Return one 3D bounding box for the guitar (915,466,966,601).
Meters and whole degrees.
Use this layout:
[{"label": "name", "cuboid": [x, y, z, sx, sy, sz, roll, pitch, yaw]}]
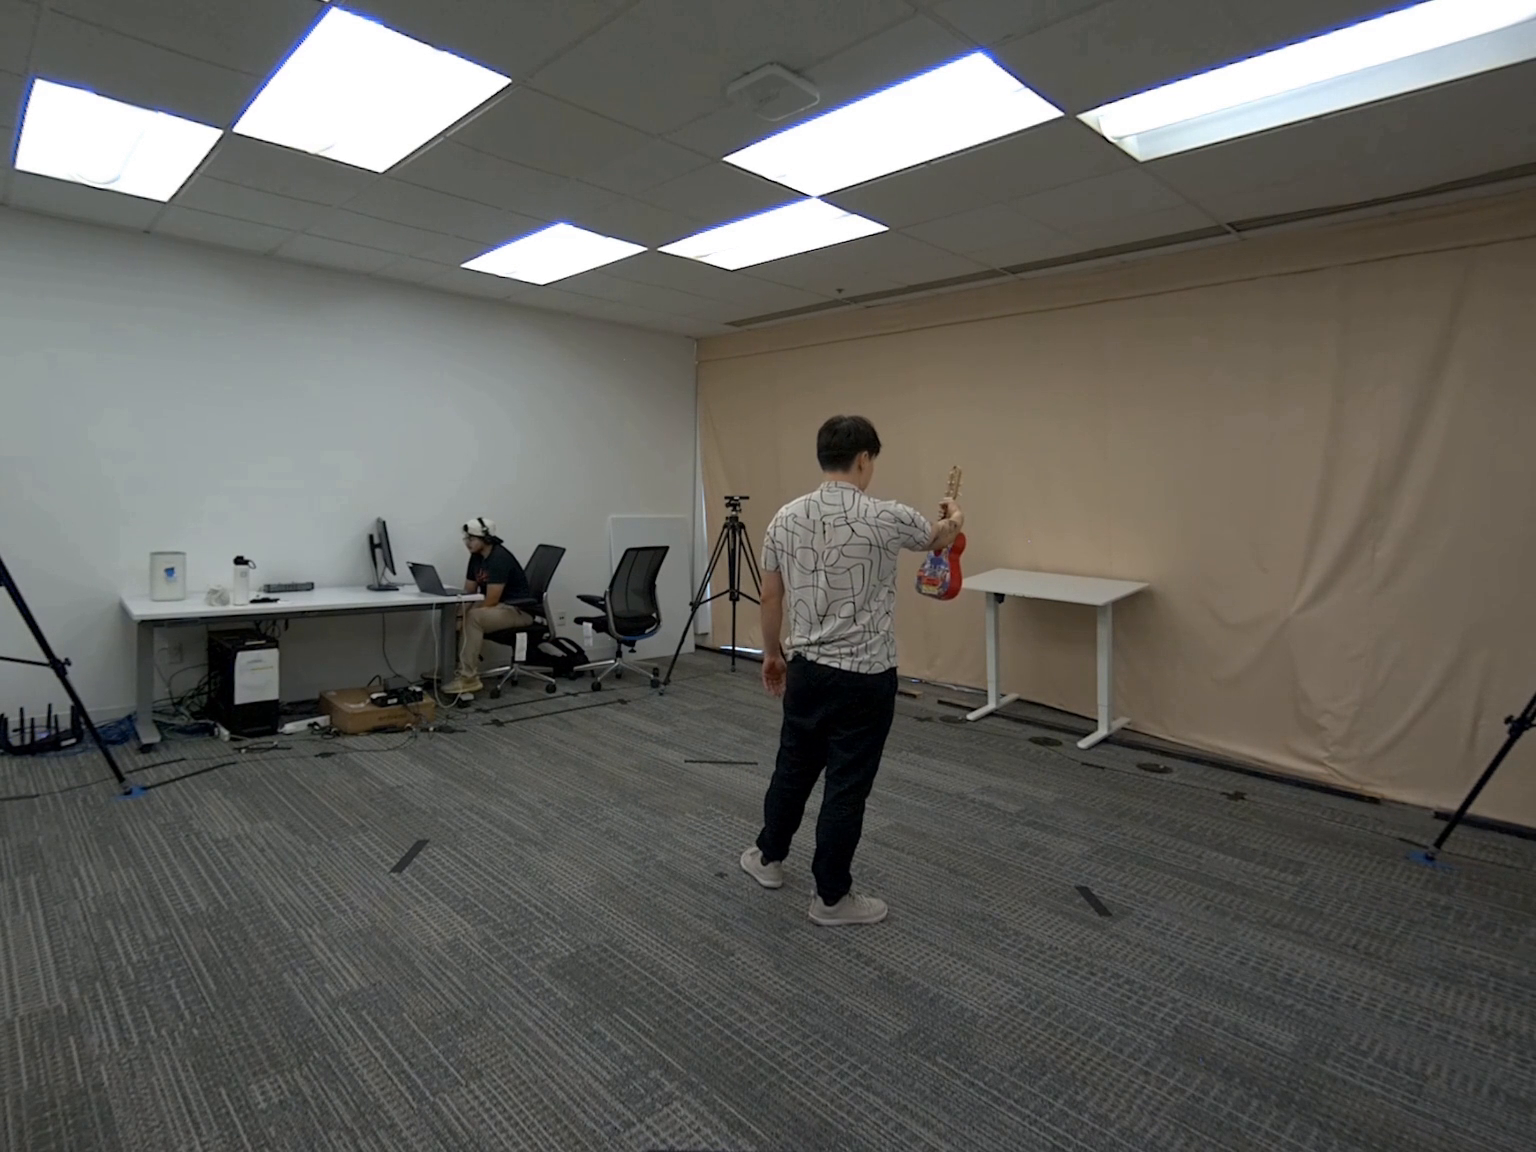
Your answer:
[{"label": "guitar", "cuboid": [0.672, -0.153, 3.109, 0.069, 0.496, 0.198, 15, 6, -26]}]
